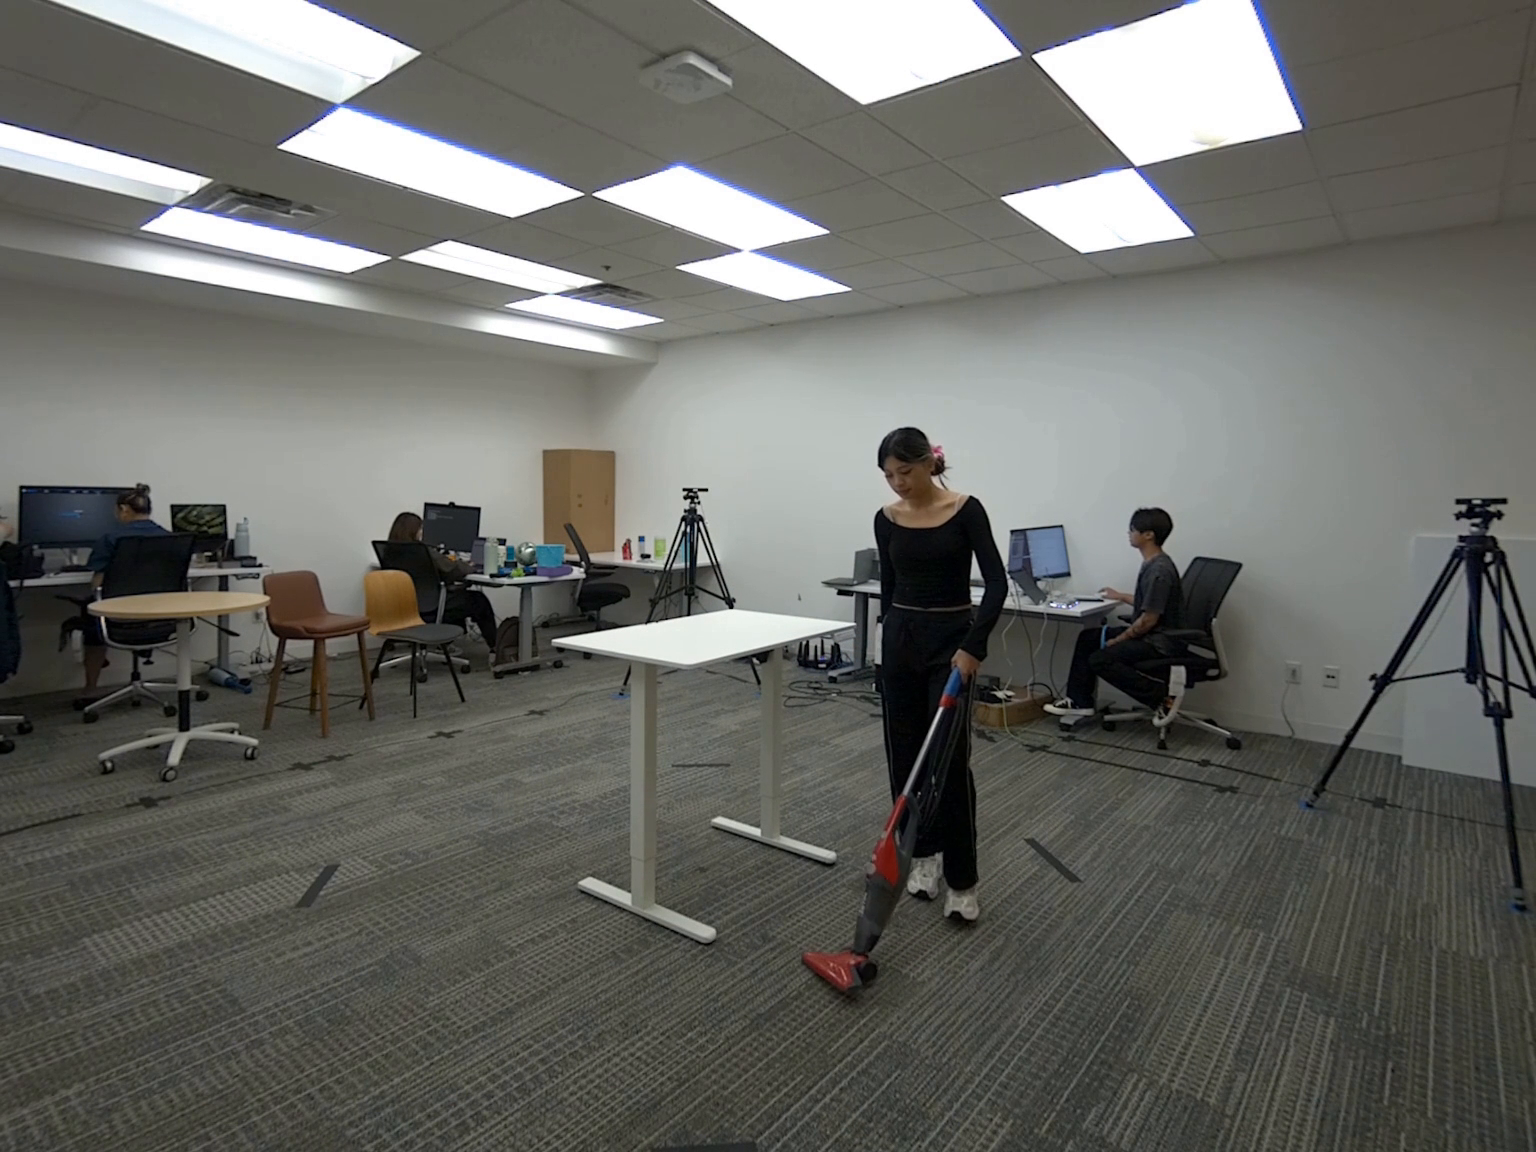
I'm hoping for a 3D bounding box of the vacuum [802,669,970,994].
[{"bbox_3d":[0.445,0.696,2.572,0.139,1.055,0.260,38,-19,-27],"label":"vacuum"}]
